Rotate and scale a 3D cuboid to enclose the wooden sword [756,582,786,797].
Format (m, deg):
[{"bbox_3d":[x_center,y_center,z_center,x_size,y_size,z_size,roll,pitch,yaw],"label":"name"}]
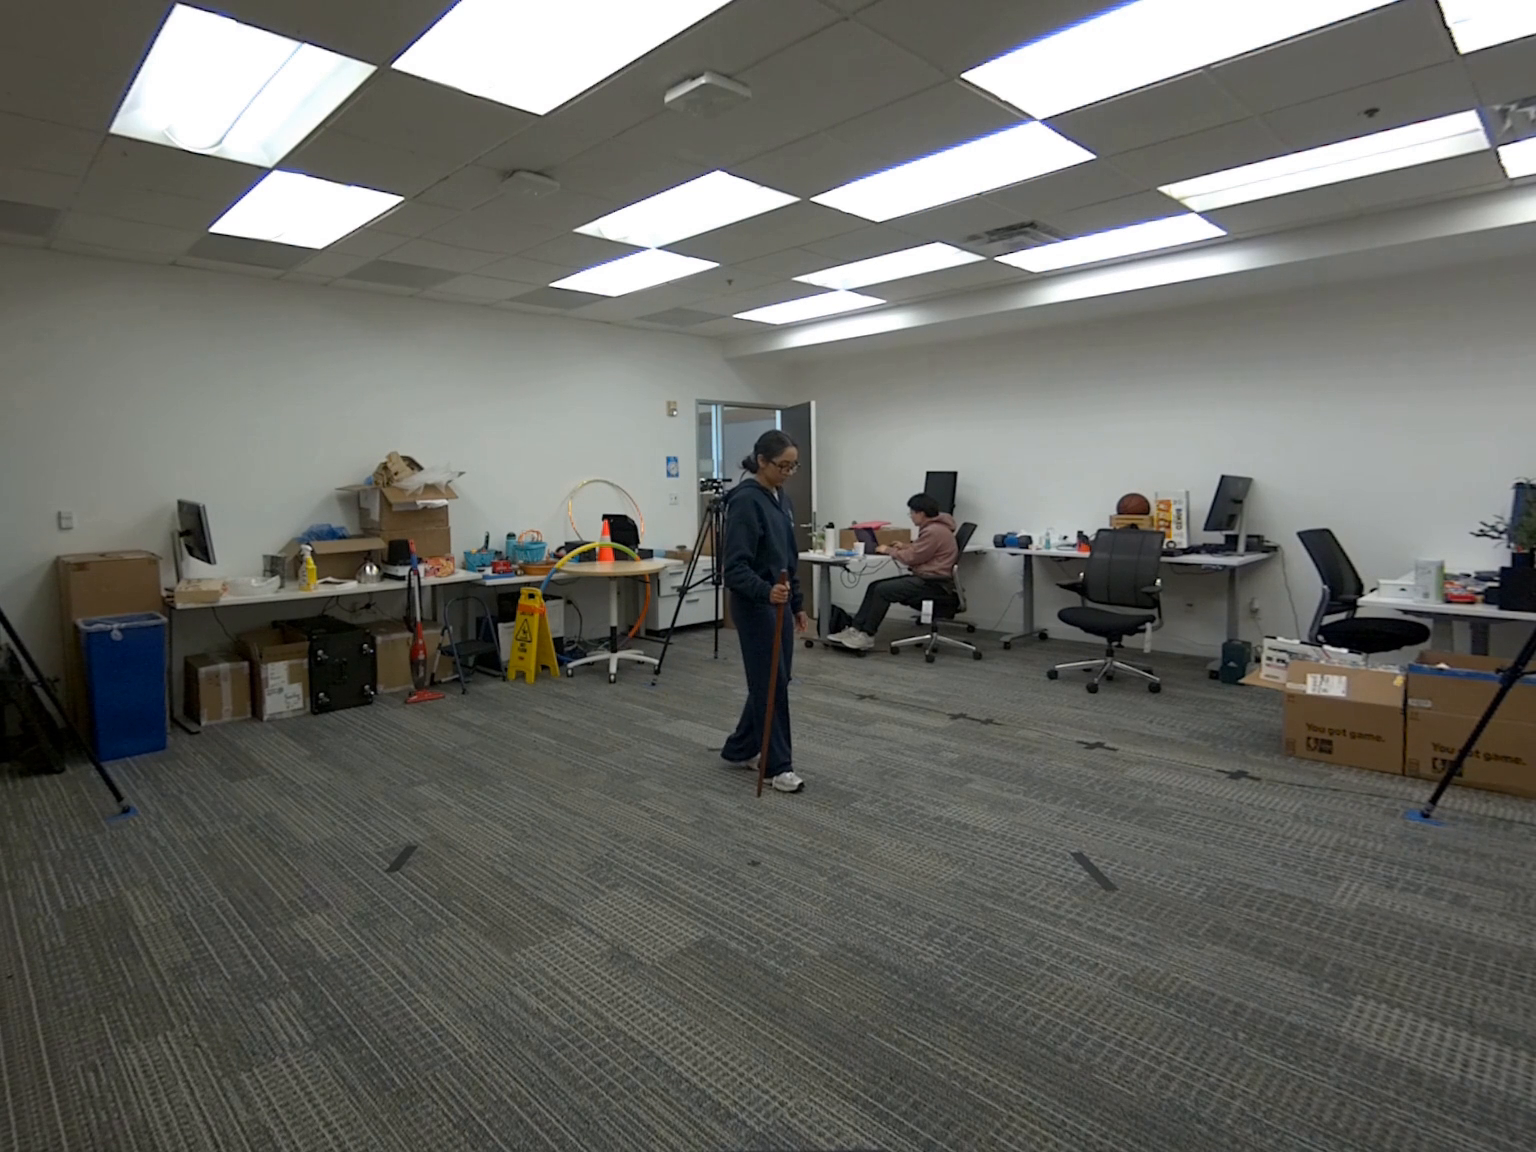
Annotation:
[{"bbox_3d":[0.012,0.490,3.676,0.023,1.014,0.053,0,16,-31],"label":"wooden sword"}]
